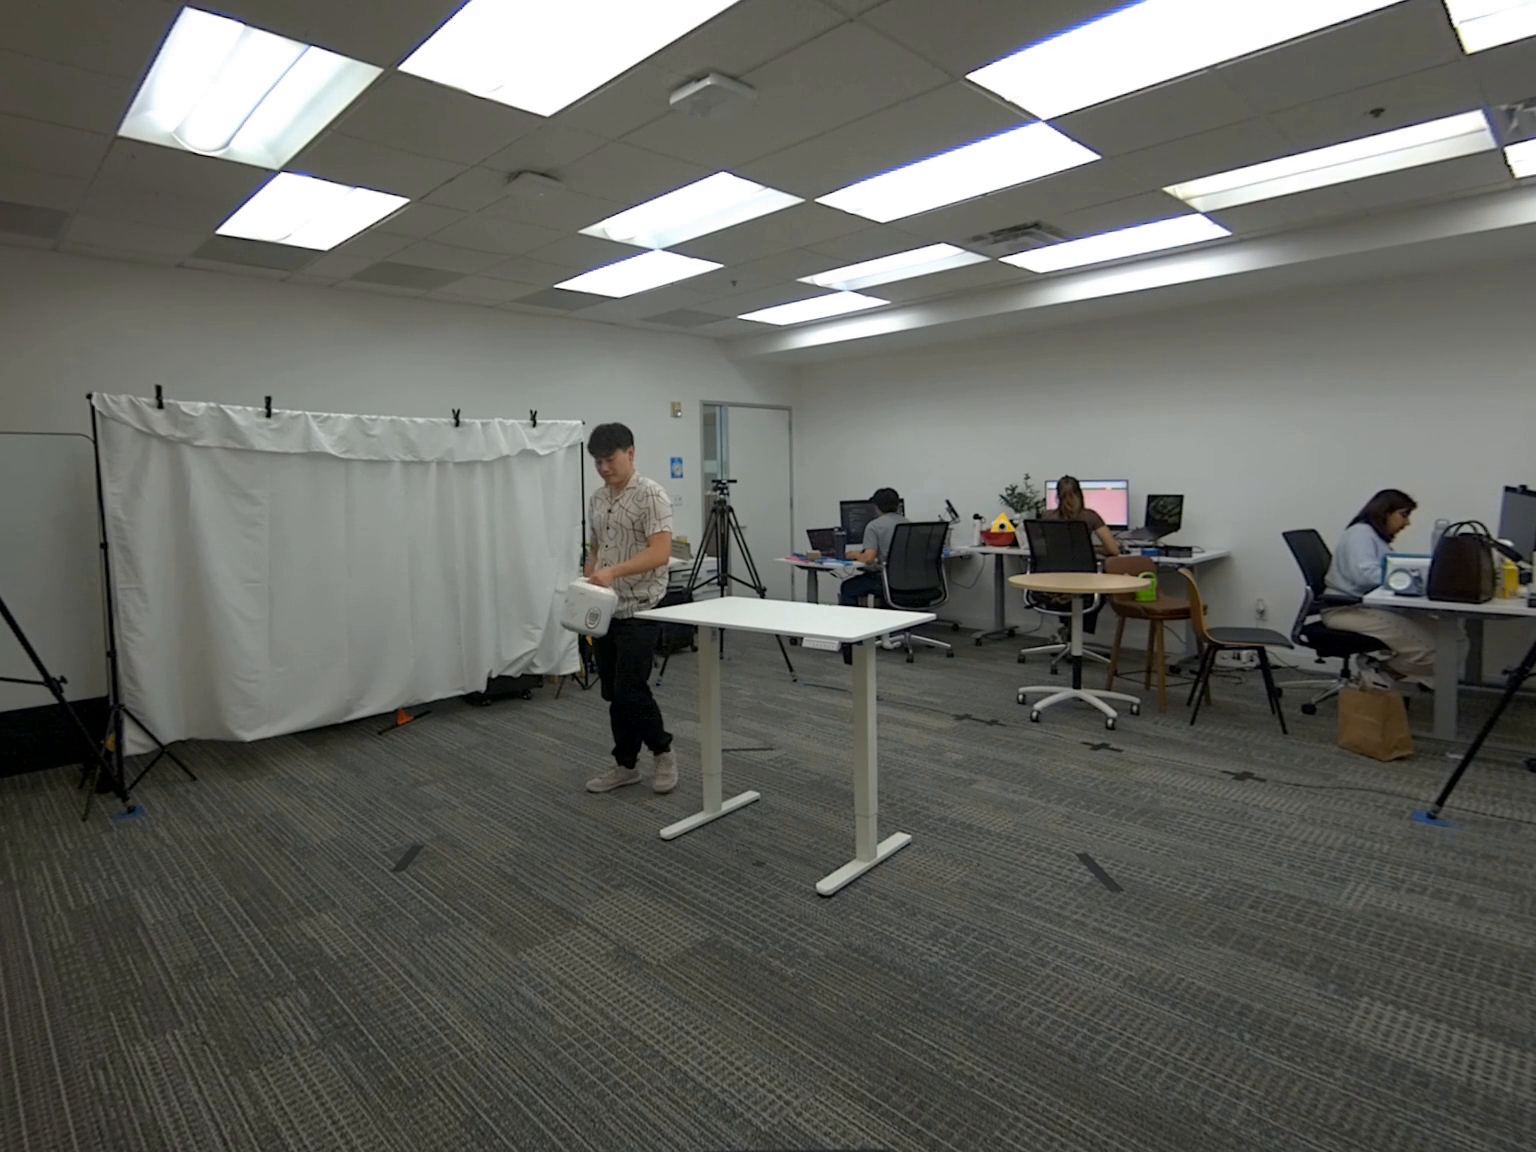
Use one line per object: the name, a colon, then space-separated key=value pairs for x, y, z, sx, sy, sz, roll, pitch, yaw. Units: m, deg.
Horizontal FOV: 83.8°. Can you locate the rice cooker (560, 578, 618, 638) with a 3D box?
rice cooker: x=-0.750 y=0.128 z=3.588 sx=0.215 sy=0.233 sz=0.223 roll=15 pitch=-2 yaw=-25
